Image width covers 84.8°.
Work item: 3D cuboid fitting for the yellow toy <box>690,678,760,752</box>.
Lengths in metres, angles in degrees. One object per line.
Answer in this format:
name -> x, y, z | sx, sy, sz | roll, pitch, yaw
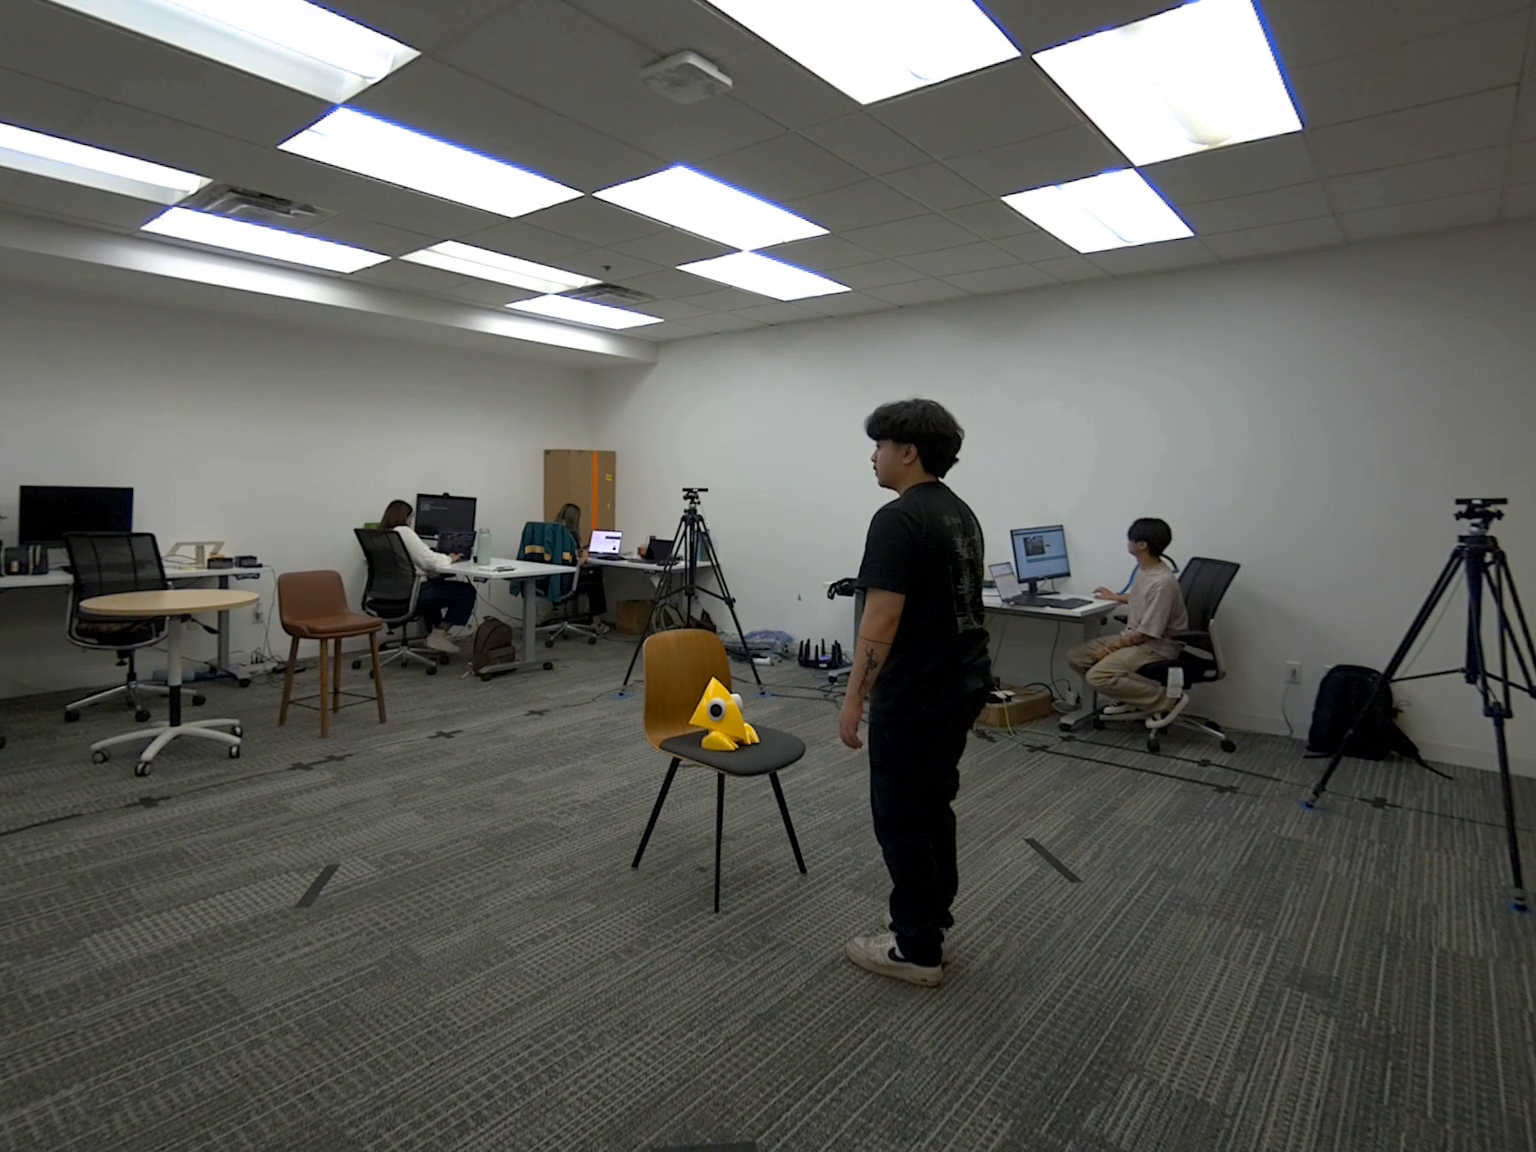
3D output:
yellow toy -> -0.158, 0.485, 3.056 | 0.199, 0.231, 0.198 | -2, 0, 44
